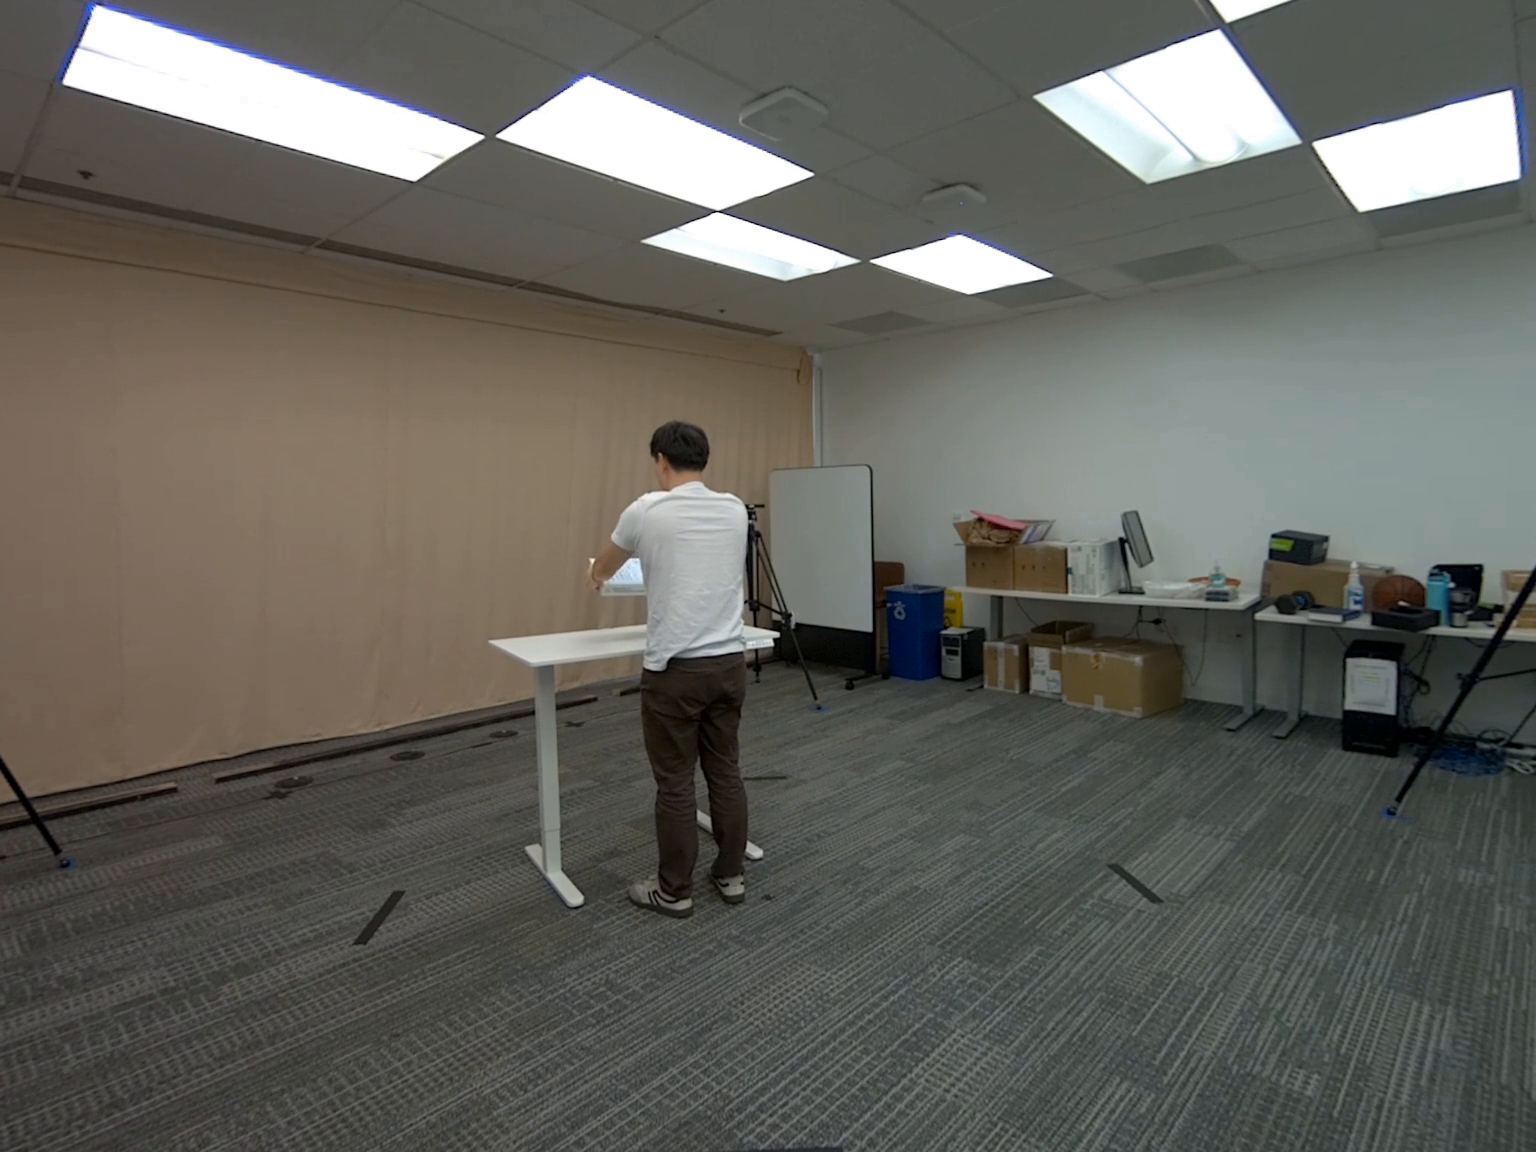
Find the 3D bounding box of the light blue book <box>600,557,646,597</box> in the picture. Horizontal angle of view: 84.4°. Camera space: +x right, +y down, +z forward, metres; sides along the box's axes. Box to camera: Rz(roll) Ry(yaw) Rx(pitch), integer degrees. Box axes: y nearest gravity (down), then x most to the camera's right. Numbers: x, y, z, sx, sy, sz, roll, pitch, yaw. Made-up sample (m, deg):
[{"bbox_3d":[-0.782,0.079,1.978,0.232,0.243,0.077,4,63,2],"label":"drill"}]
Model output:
[{"bbox_3d":[-0.566,0.001,3.346,0.254,0.058,0.198,-1,31,-29],"label":"light blue book"}]
